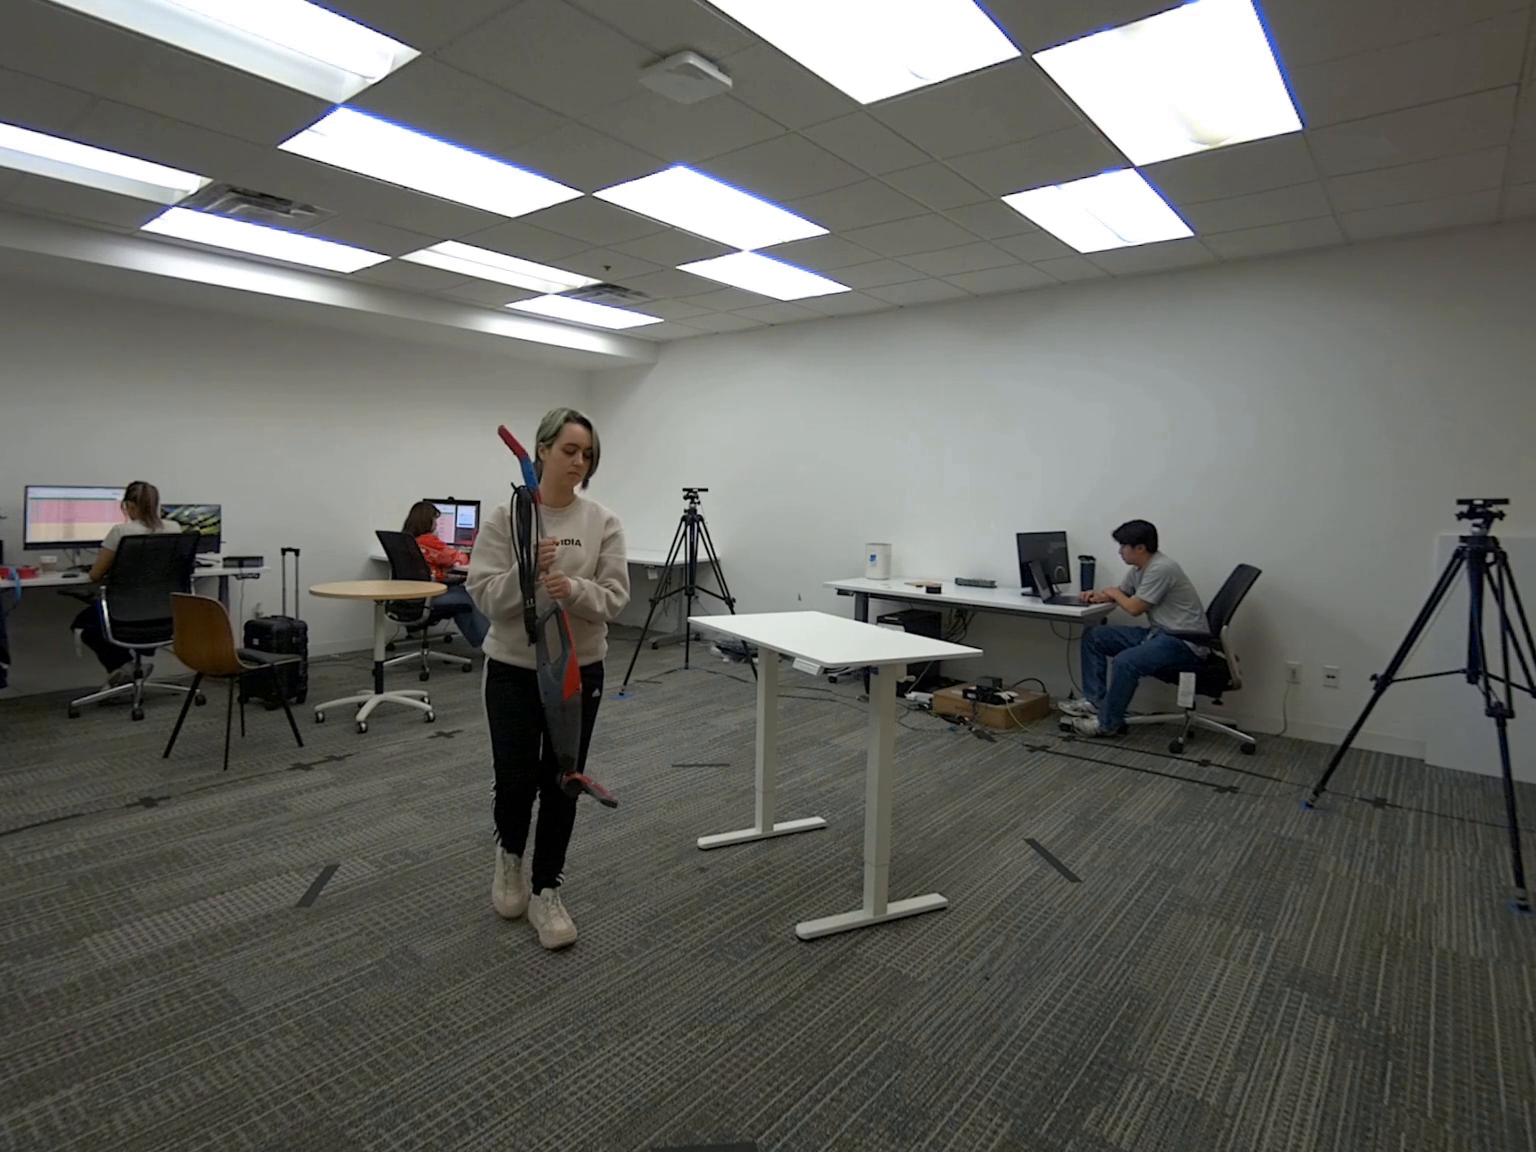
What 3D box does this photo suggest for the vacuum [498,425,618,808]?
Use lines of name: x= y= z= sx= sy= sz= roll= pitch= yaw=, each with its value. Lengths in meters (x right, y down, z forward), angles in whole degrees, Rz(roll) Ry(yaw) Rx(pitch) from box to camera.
vacuum: x=-0.643 y=0.092 z=2.387 sx=0.141 sy=1.048 sz=0.257 roll=-14 pitch=1 yaw=-25
